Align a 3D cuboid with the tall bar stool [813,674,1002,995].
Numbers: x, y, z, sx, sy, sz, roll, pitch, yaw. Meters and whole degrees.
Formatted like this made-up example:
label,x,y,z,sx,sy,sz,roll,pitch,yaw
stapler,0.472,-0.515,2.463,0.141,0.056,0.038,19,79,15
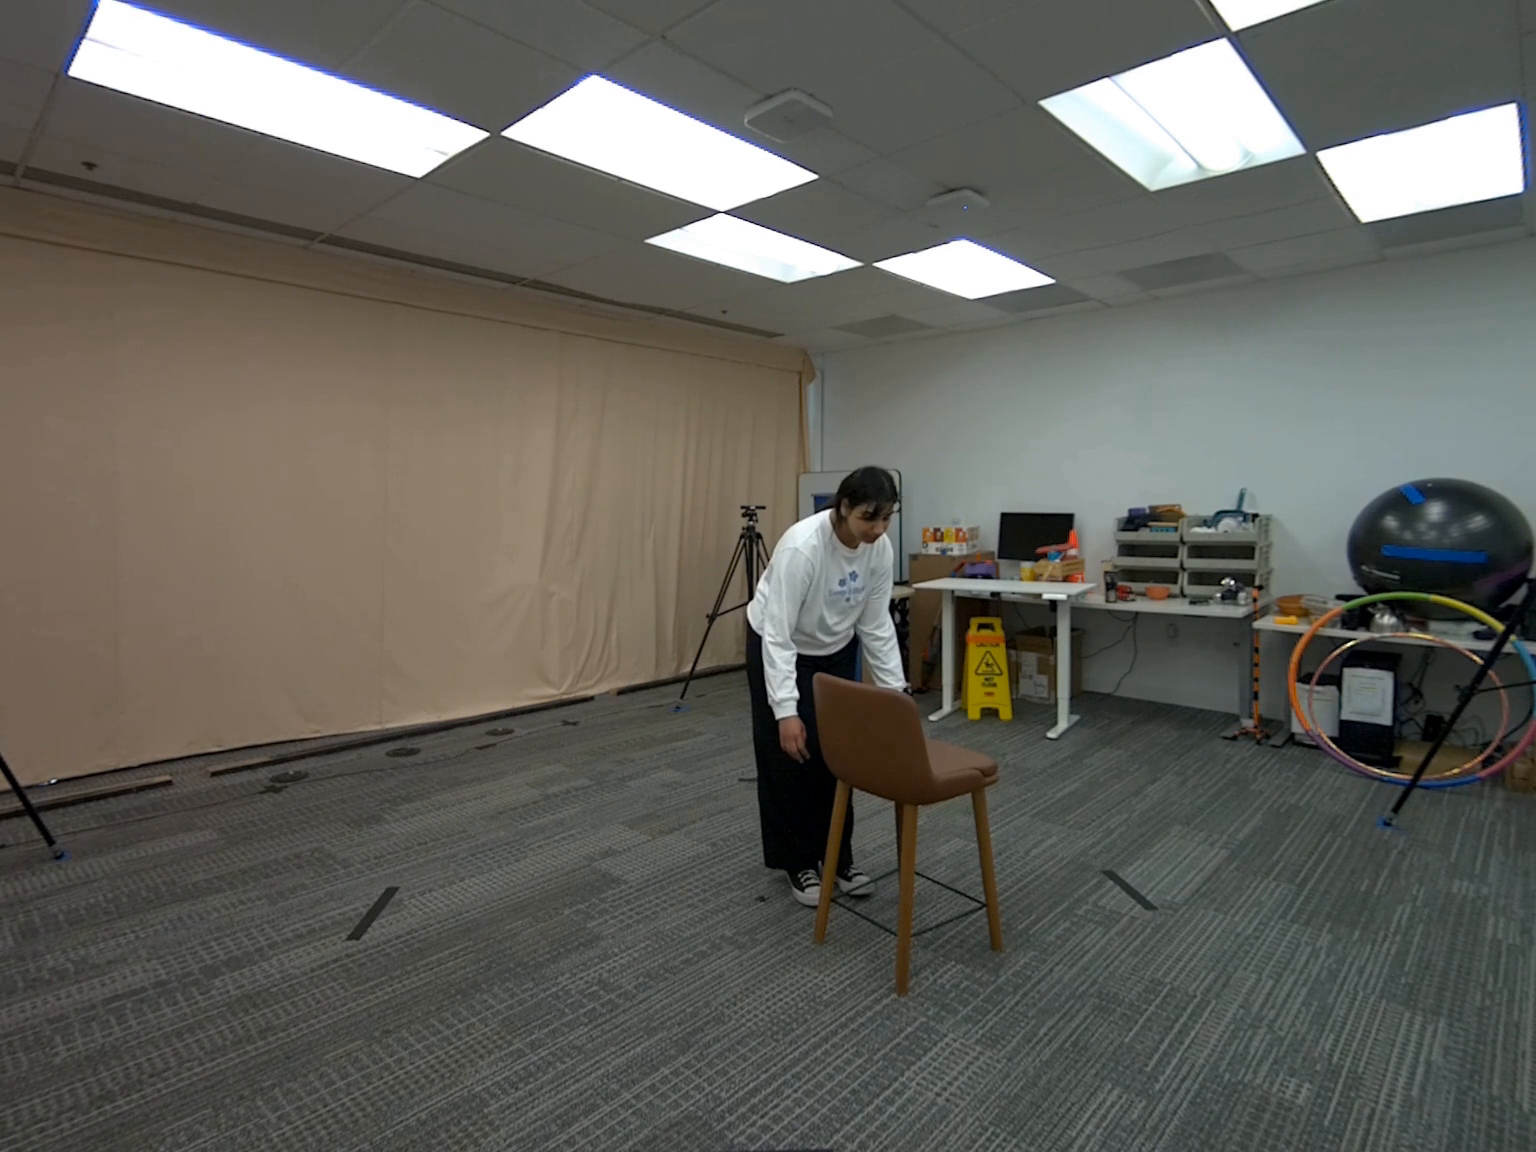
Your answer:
label,x,y,z,sx,sy,sz,roll,pitch,yaw
tall bar stool,0.442,0.737,2.643,0.454,0.887,0.471,-5,6,-38
